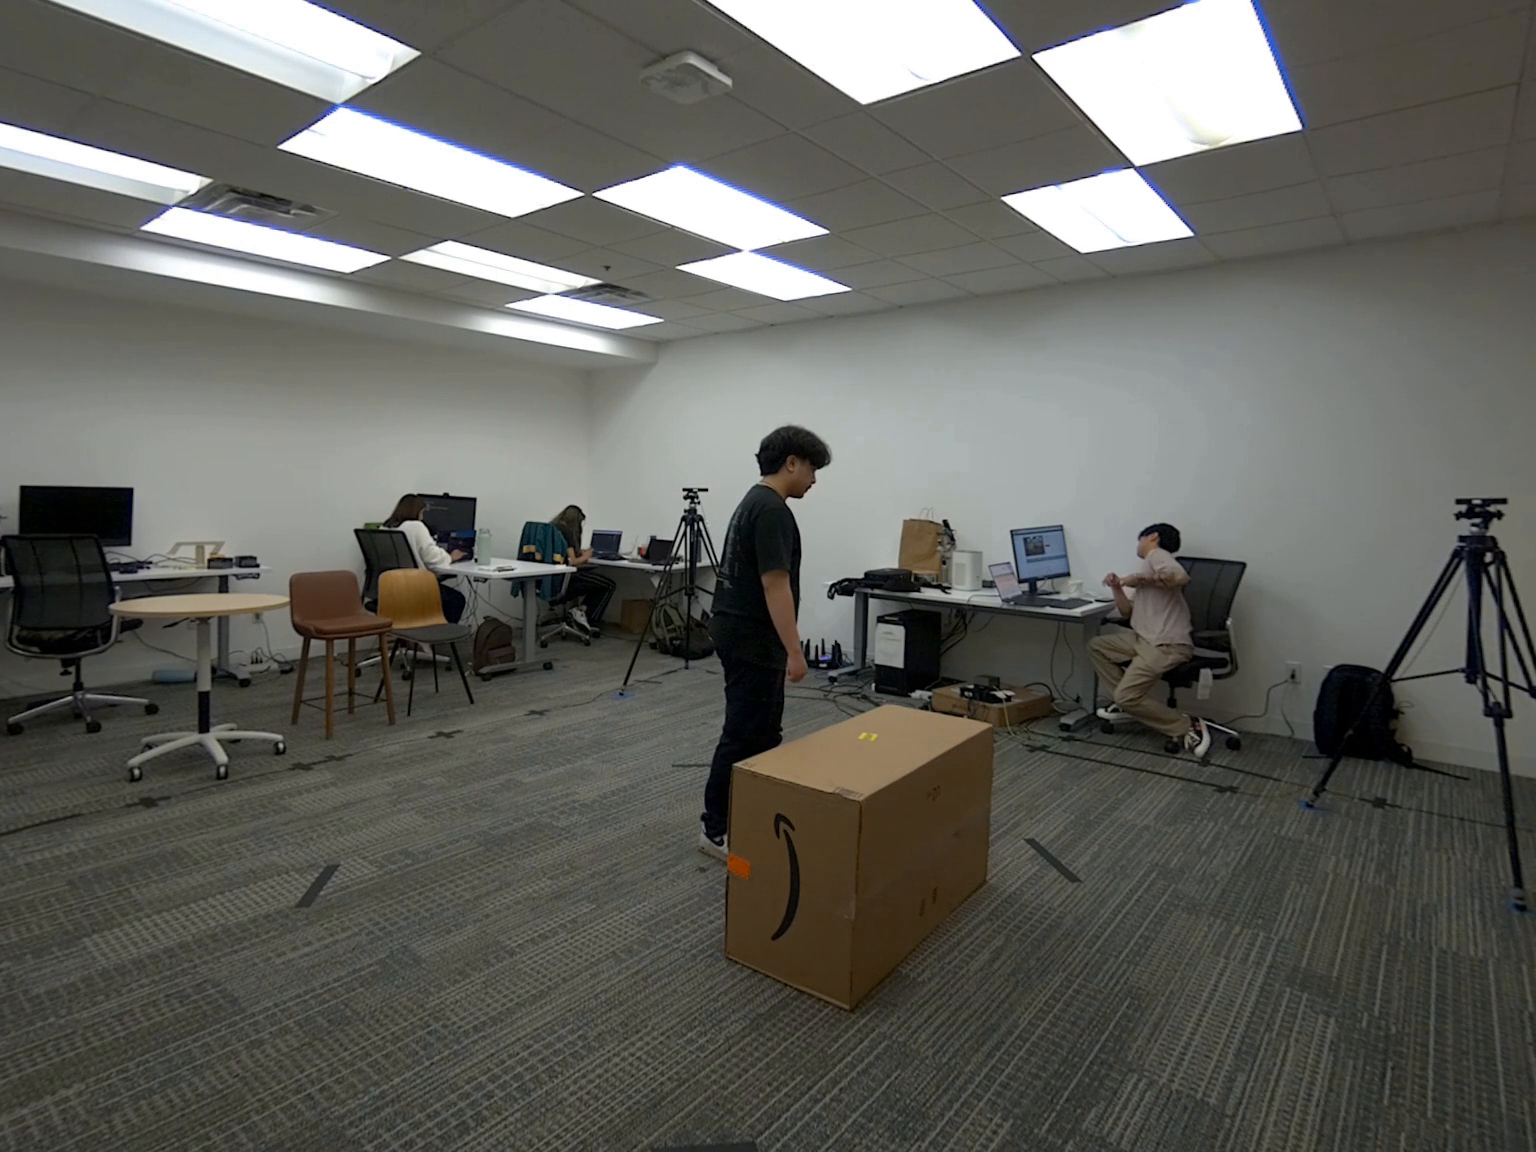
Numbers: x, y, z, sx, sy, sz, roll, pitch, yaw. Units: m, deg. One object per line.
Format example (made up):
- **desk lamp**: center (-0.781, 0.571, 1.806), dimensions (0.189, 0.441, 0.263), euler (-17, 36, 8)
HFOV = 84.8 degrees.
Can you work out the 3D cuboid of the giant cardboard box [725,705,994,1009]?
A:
- **giant cardboard box**: center (0.335, 0.826, 2.784), dimensions (0.461, 0.582, 0.998), euler (3, 4, 35)
